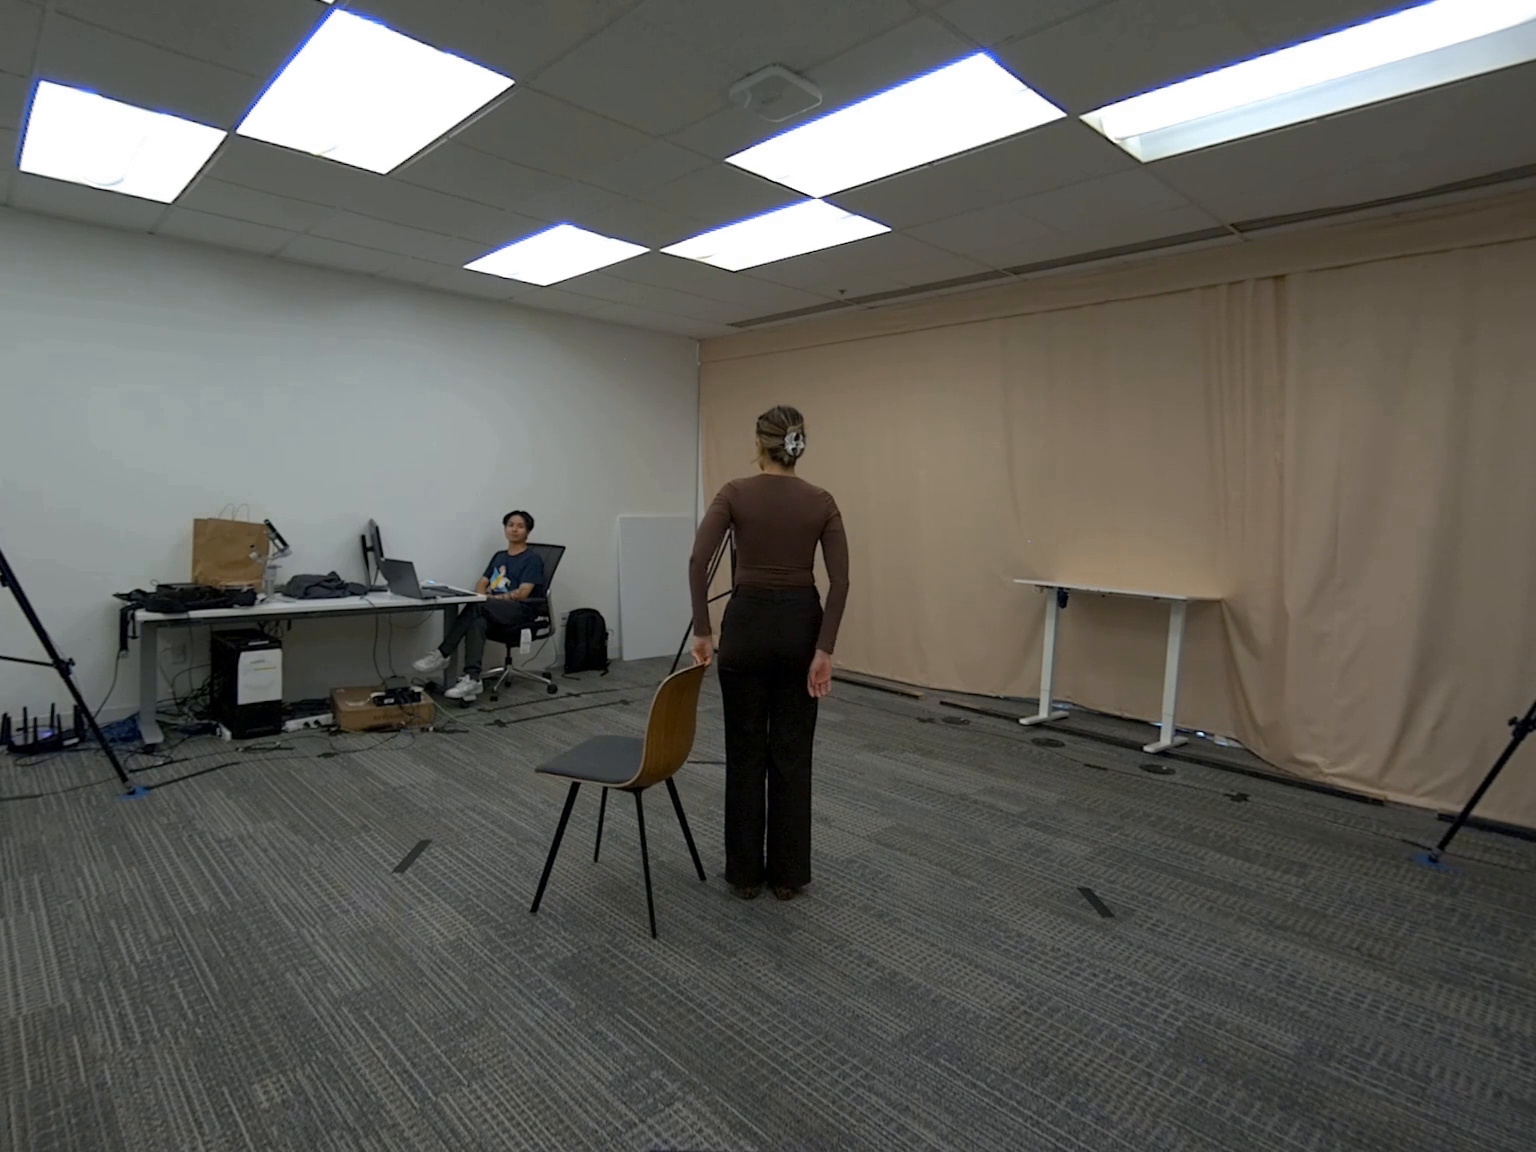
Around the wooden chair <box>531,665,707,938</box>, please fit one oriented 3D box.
[{"bbox_3d":[-0.503,0.687,2.894,0.532,0.874,0.472,7,5,19],"label":"wooden chair"}]
